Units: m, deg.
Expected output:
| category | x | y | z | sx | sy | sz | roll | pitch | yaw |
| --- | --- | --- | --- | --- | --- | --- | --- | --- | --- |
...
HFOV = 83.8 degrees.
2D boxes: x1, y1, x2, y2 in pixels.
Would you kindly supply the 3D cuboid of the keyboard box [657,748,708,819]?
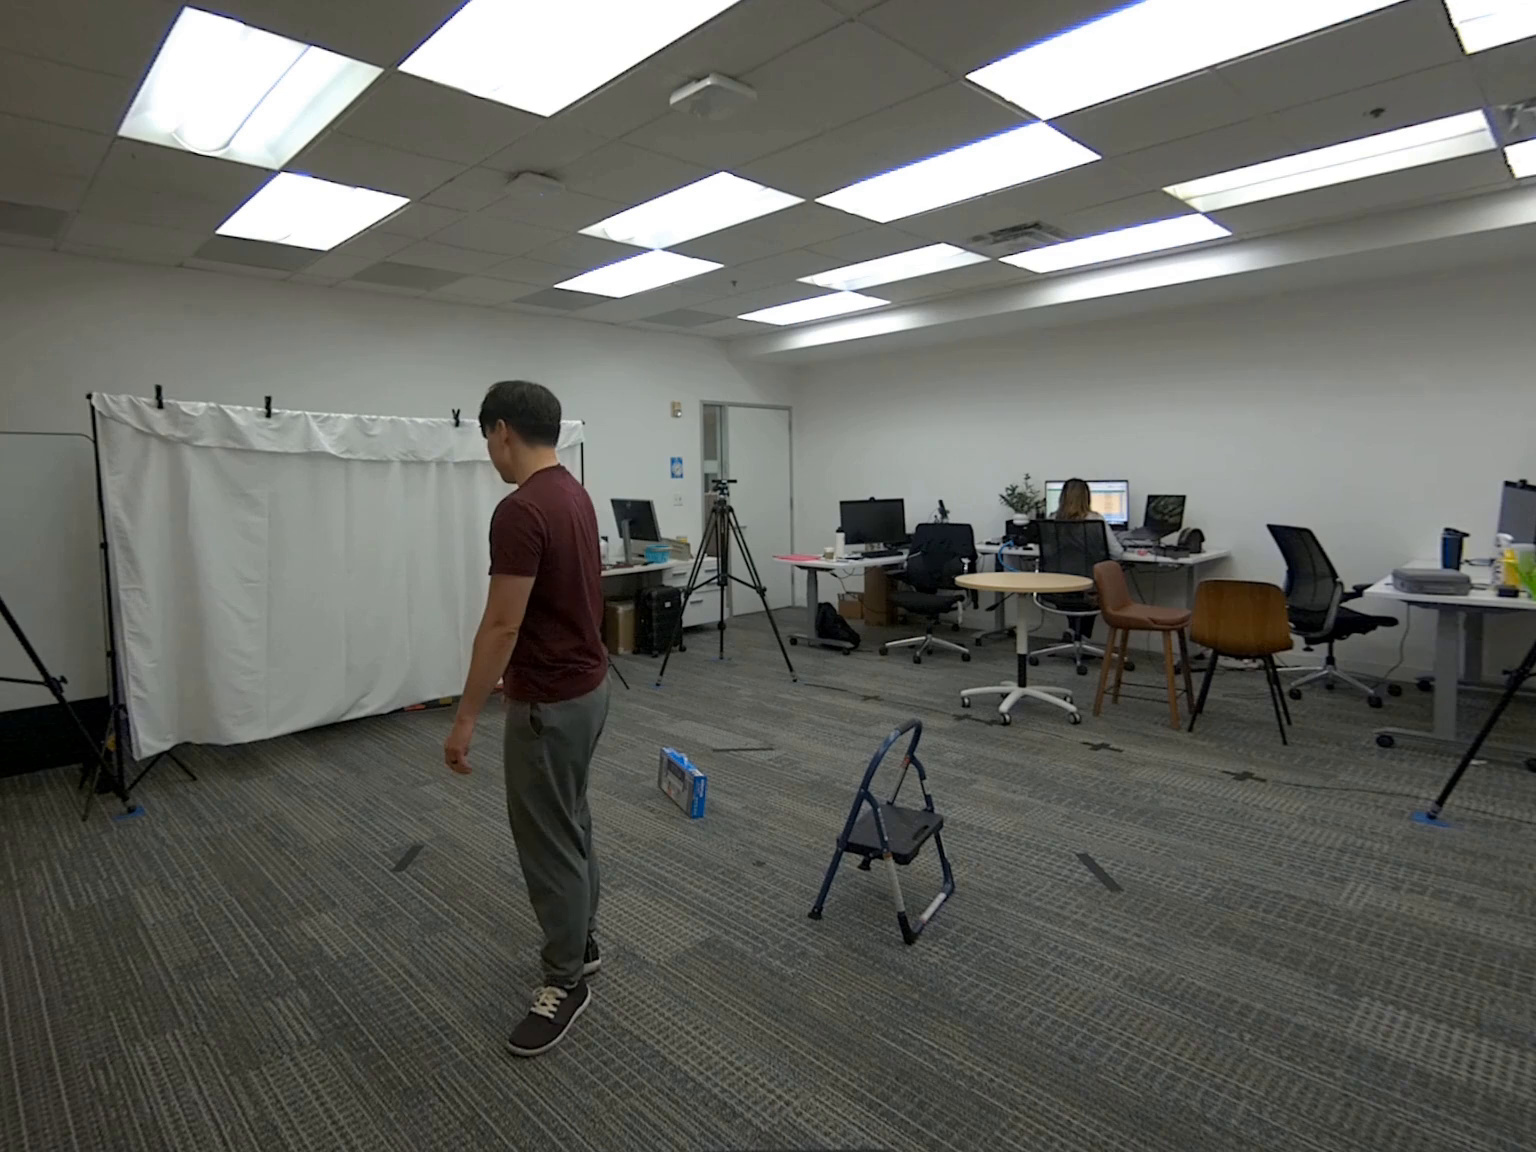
| category | x | y | z | sx | sy | sz | roll | pitch | yaw |
| --- | --- | --- | --- | --- | --- | --- | --- | --- | --- |
| keyboard box | -0.378 | 0.897 | 3.737 | 0.058 | 0.176 | 0.447 | 4 | 3 | -25 |
